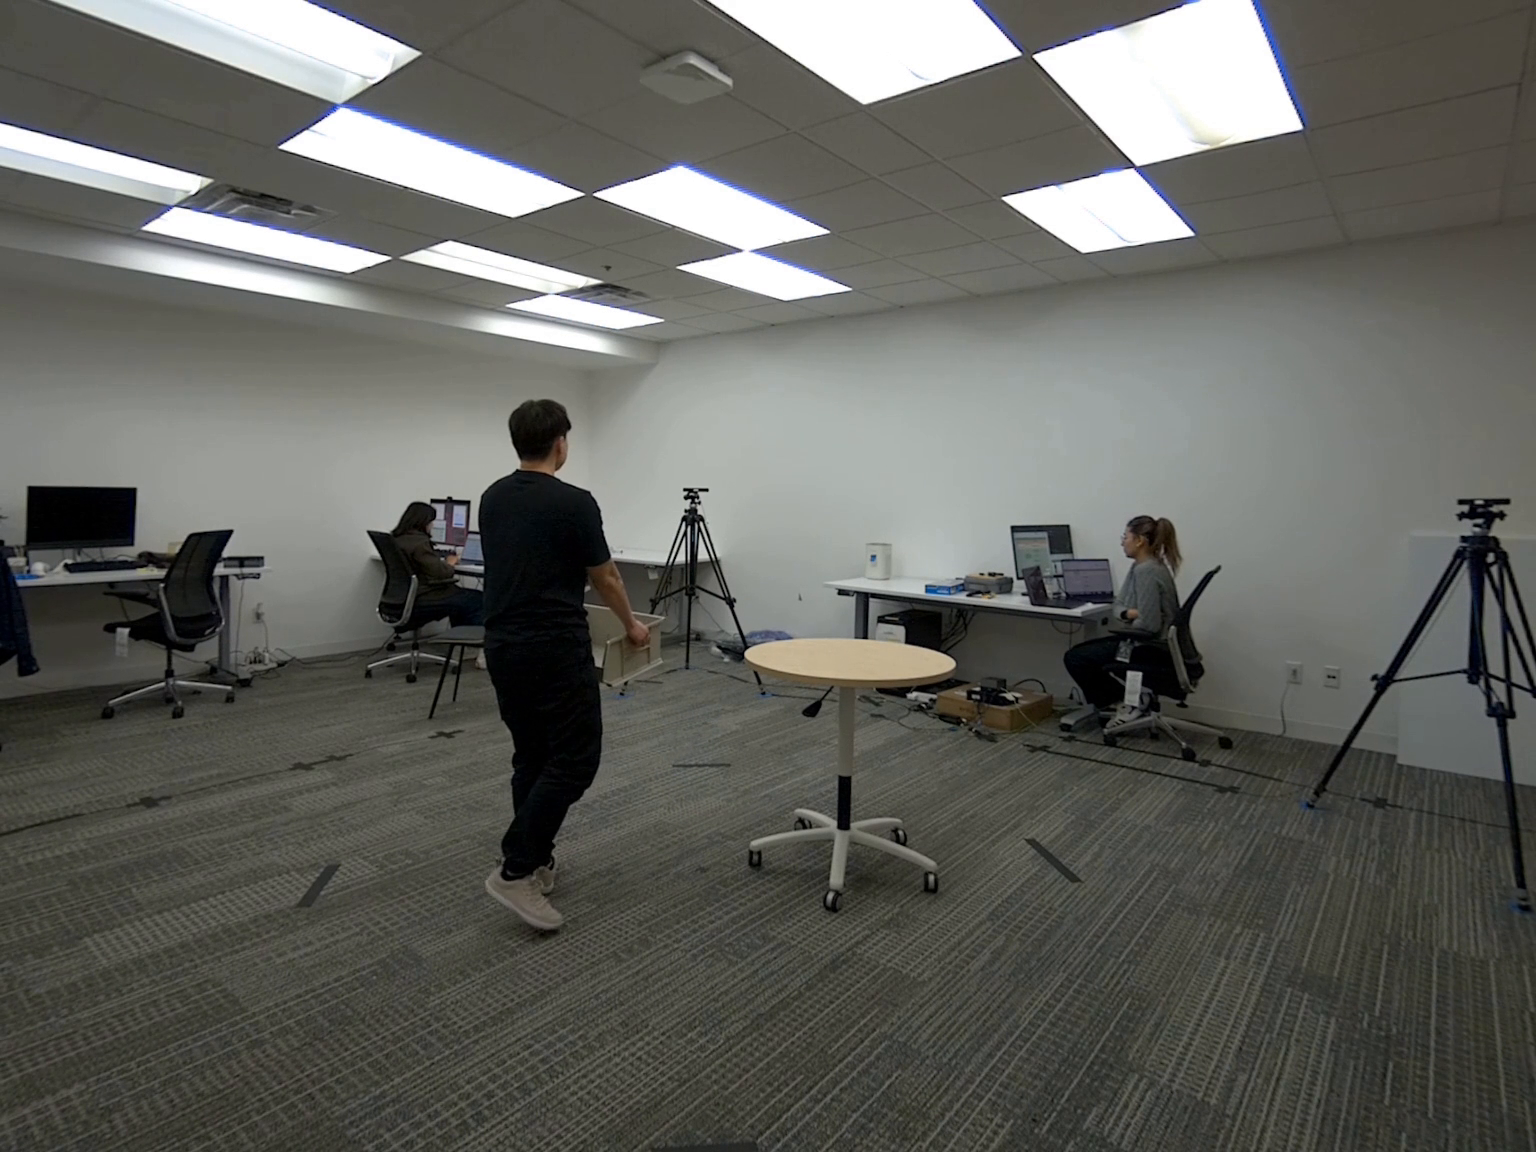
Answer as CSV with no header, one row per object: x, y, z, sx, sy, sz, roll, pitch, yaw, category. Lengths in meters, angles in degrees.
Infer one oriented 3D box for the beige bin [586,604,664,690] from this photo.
-0.675,0.261,3.224,0.435,0.187,0.370,6,13,29,beige bin
